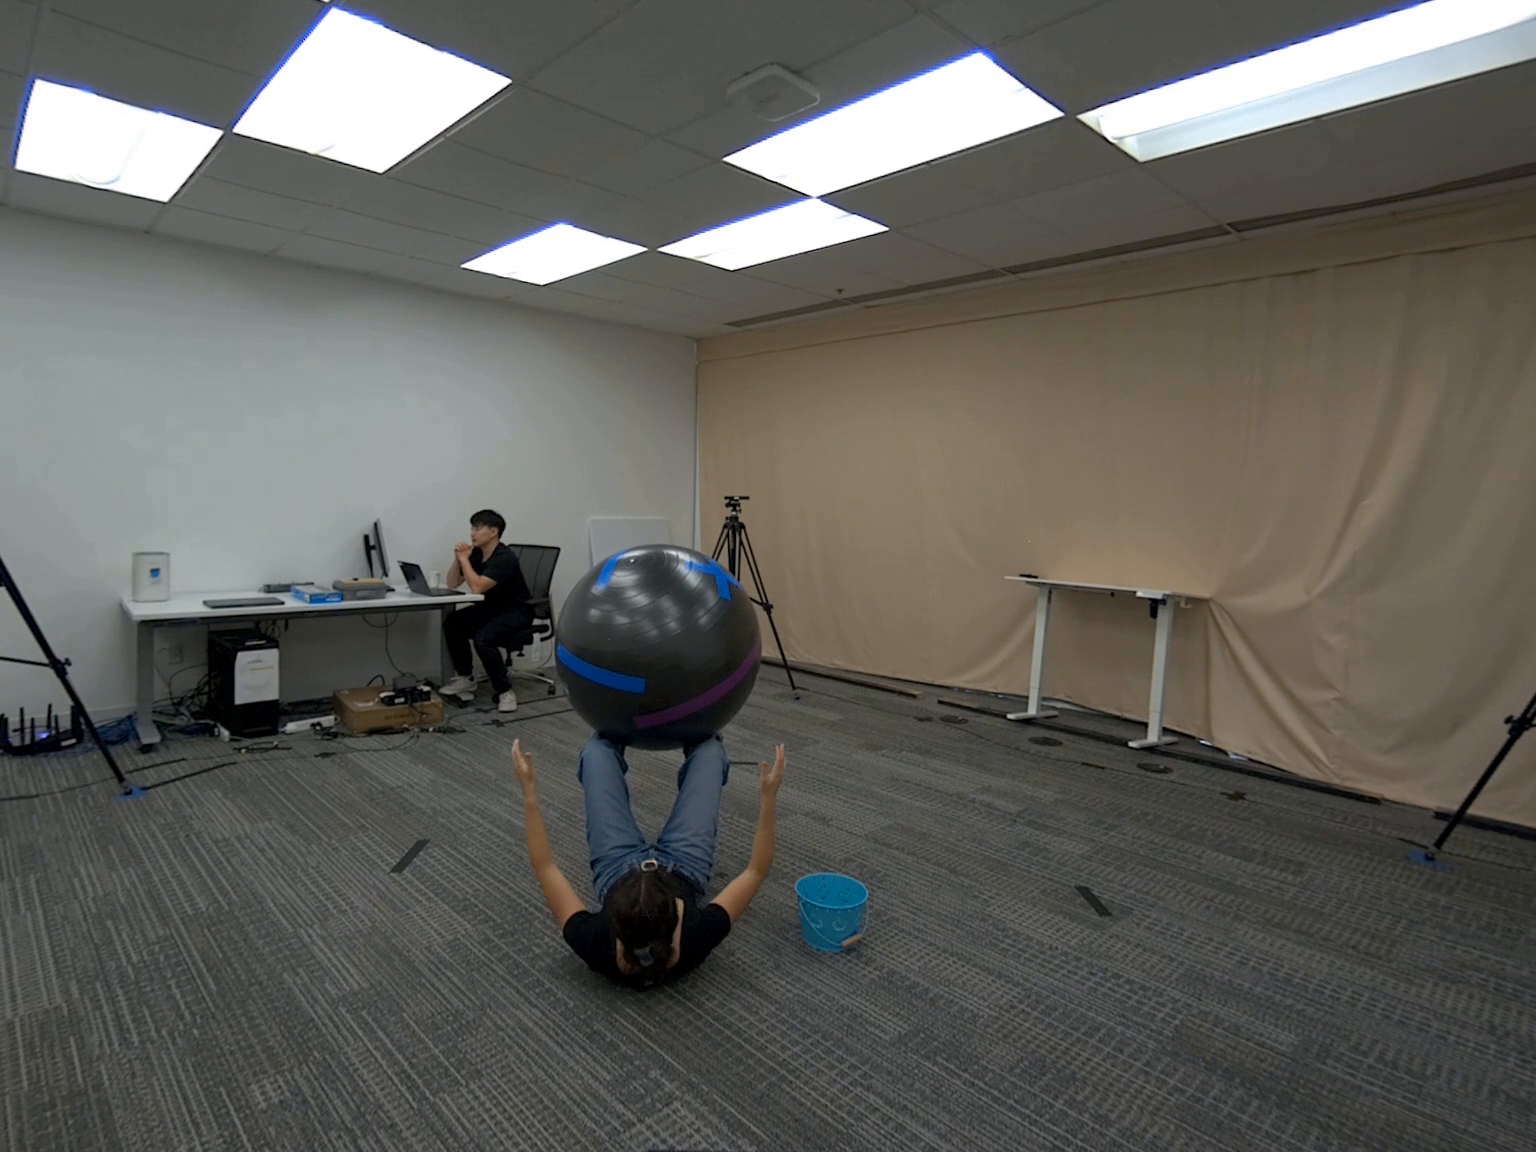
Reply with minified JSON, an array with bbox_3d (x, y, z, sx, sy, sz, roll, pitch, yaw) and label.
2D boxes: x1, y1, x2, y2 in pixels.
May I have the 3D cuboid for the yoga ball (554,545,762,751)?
[{"bbox_3d":[-0.410,0.268,3.114,0.757,0.756,0.761,1,4,-1],"label":"yoga ball"}]
